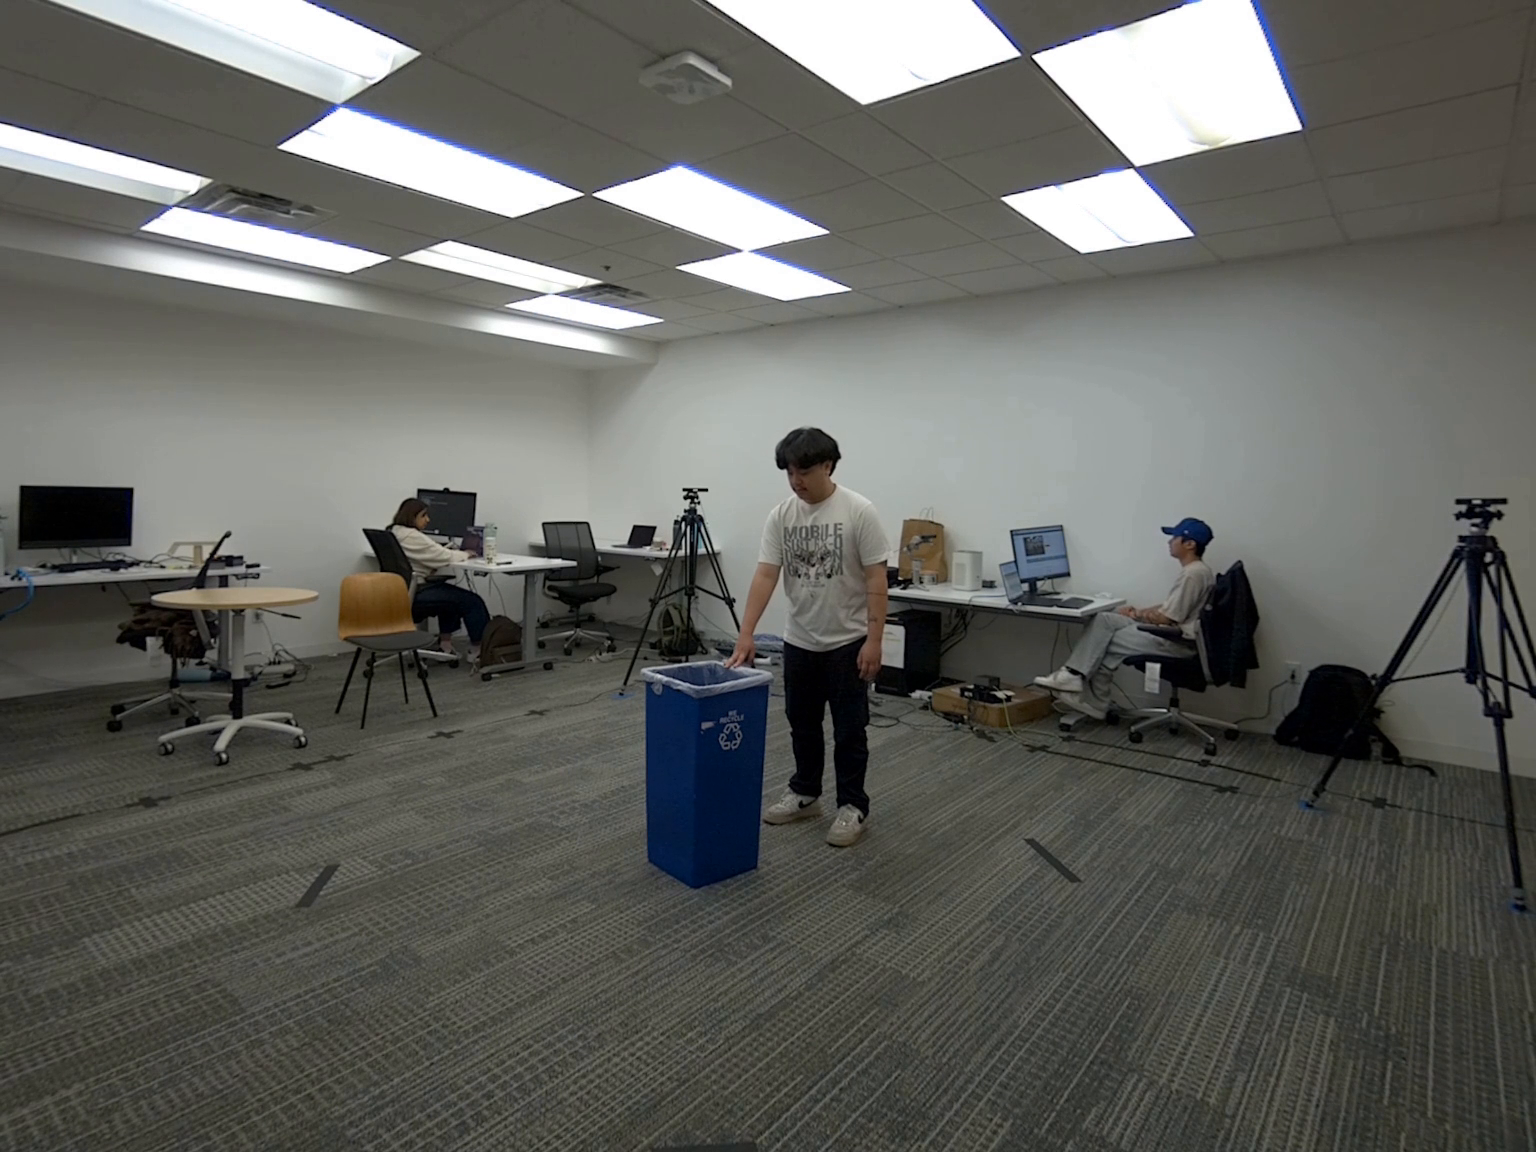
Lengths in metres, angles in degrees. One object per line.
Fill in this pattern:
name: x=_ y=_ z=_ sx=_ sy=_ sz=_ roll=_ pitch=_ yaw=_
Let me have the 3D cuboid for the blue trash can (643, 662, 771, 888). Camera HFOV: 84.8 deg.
blue trash can: x=-0.240 y=0.708 z=3.144 sx=0.363 sy=0.711 sz=0.391 roll=-2 pitch=4 yaw=-41
